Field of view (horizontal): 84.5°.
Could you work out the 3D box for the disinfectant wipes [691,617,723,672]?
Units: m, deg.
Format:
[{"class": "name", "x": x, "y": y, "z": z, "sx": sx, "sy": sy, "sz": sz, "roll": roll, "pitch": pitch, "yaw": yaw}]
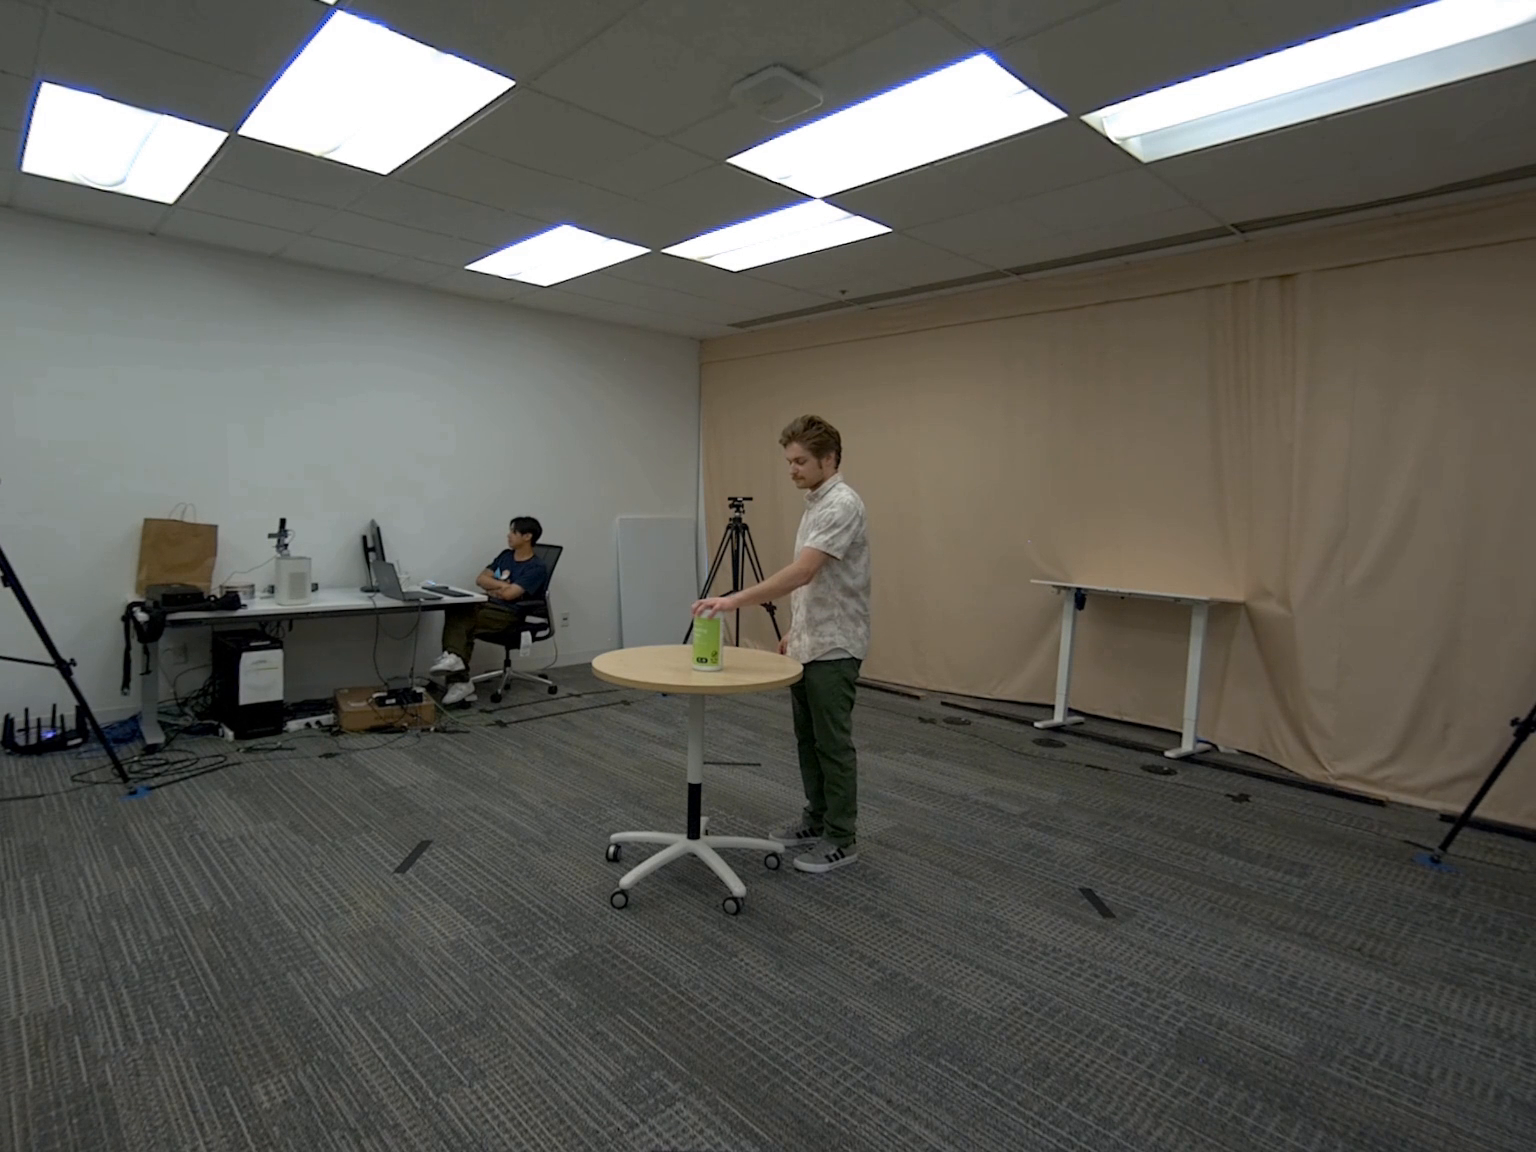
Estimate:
[{"class": "disinfectant wipes", "x": -0.215, "y": 0.222, "z": 2.957, "sx": 0.118, "sy": 0.216, "sz": 0.118, "roll": 1, "pitch": 6, "yaw": -2}]
